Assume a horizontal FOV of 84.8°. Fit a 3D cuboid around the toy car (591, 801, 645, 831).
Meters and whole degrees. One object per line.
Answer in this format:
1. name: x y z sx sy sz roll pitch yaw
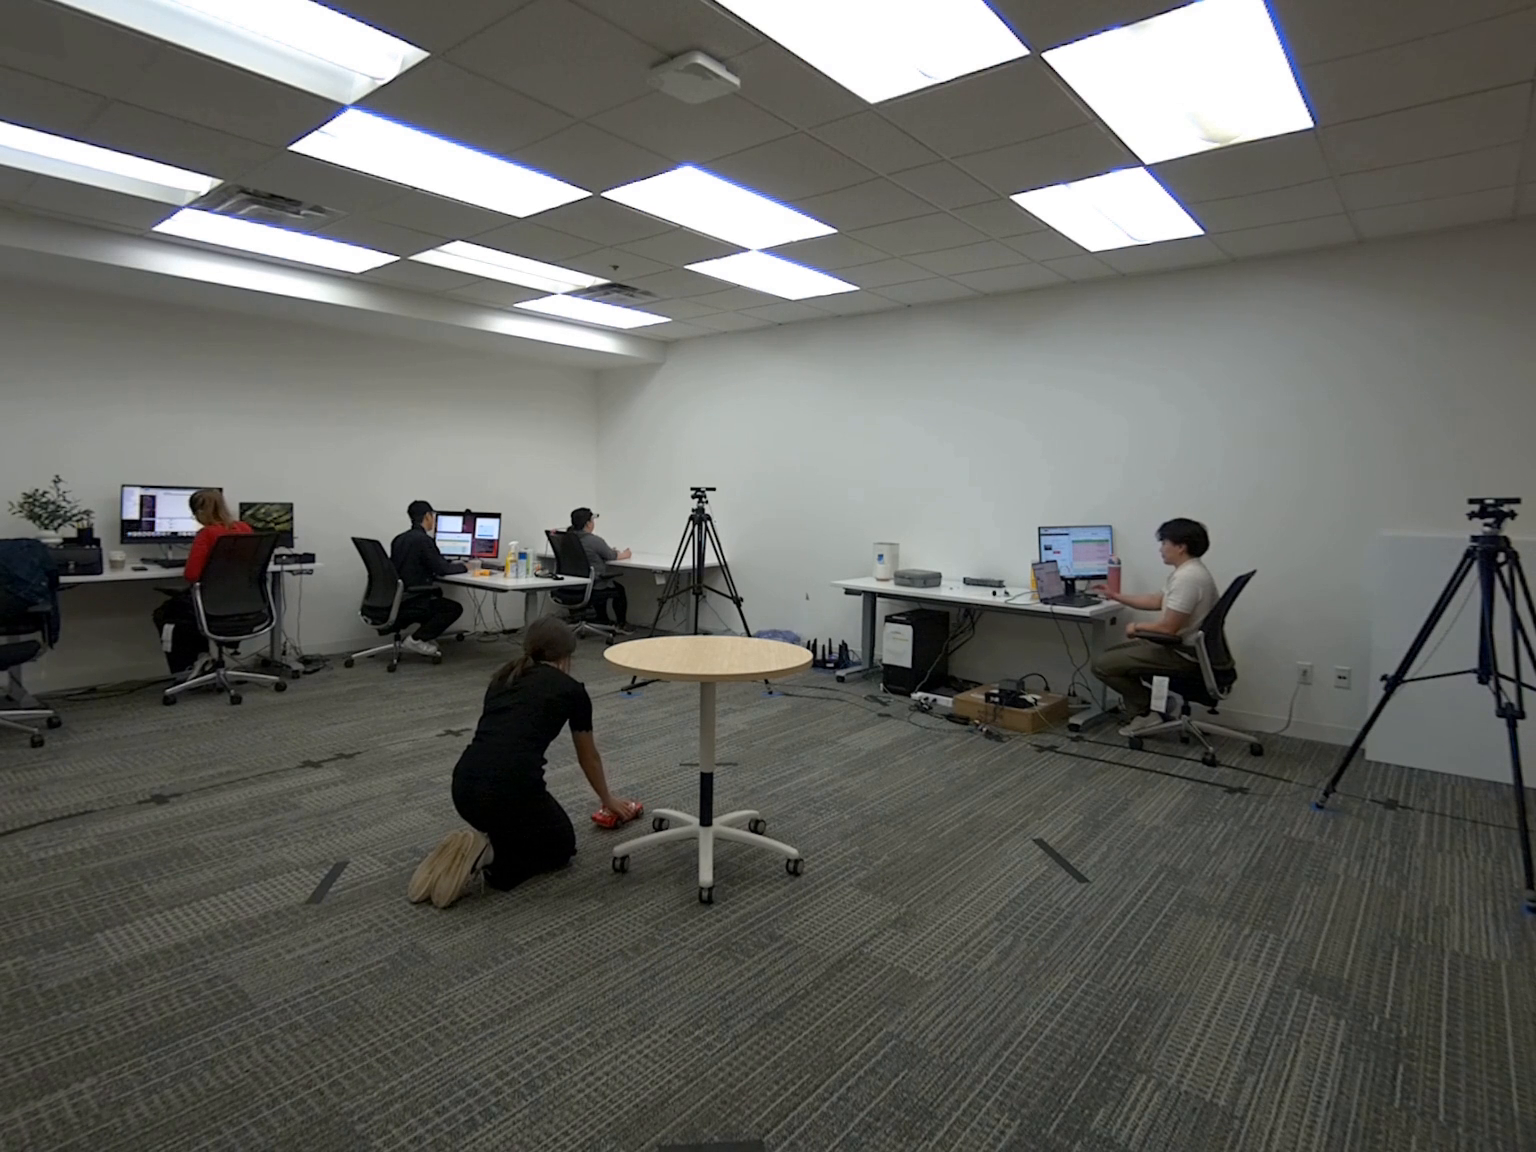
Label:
1. toy car: -0.647 0.989 3.532 0.134 0.083 0.246 6 -3 34
